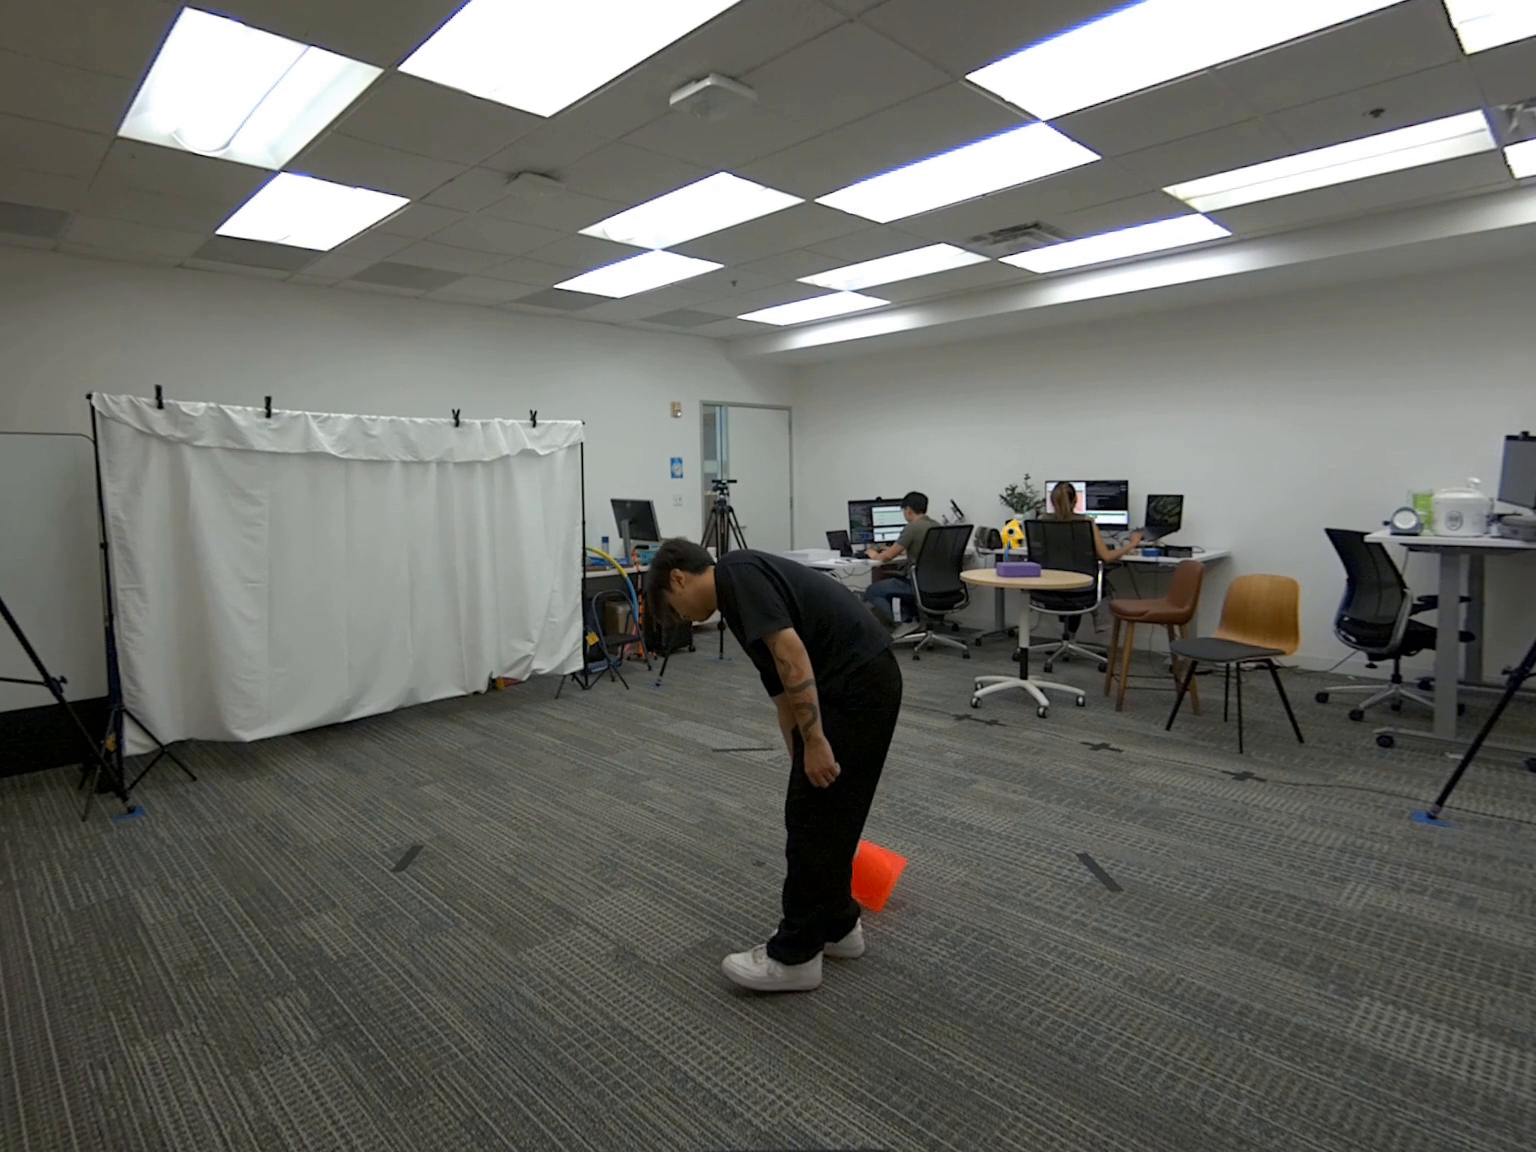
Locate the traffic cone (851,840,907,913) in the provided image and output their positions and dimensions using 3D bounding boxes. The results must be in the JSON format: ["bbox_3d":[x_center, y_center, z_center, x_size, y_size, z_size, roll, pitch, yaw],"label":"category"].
[{"bbox_3d":[0.248,0.877,2.775,0.209,0.372,0.205,2,47,53],"label":"traffic cone"}]
